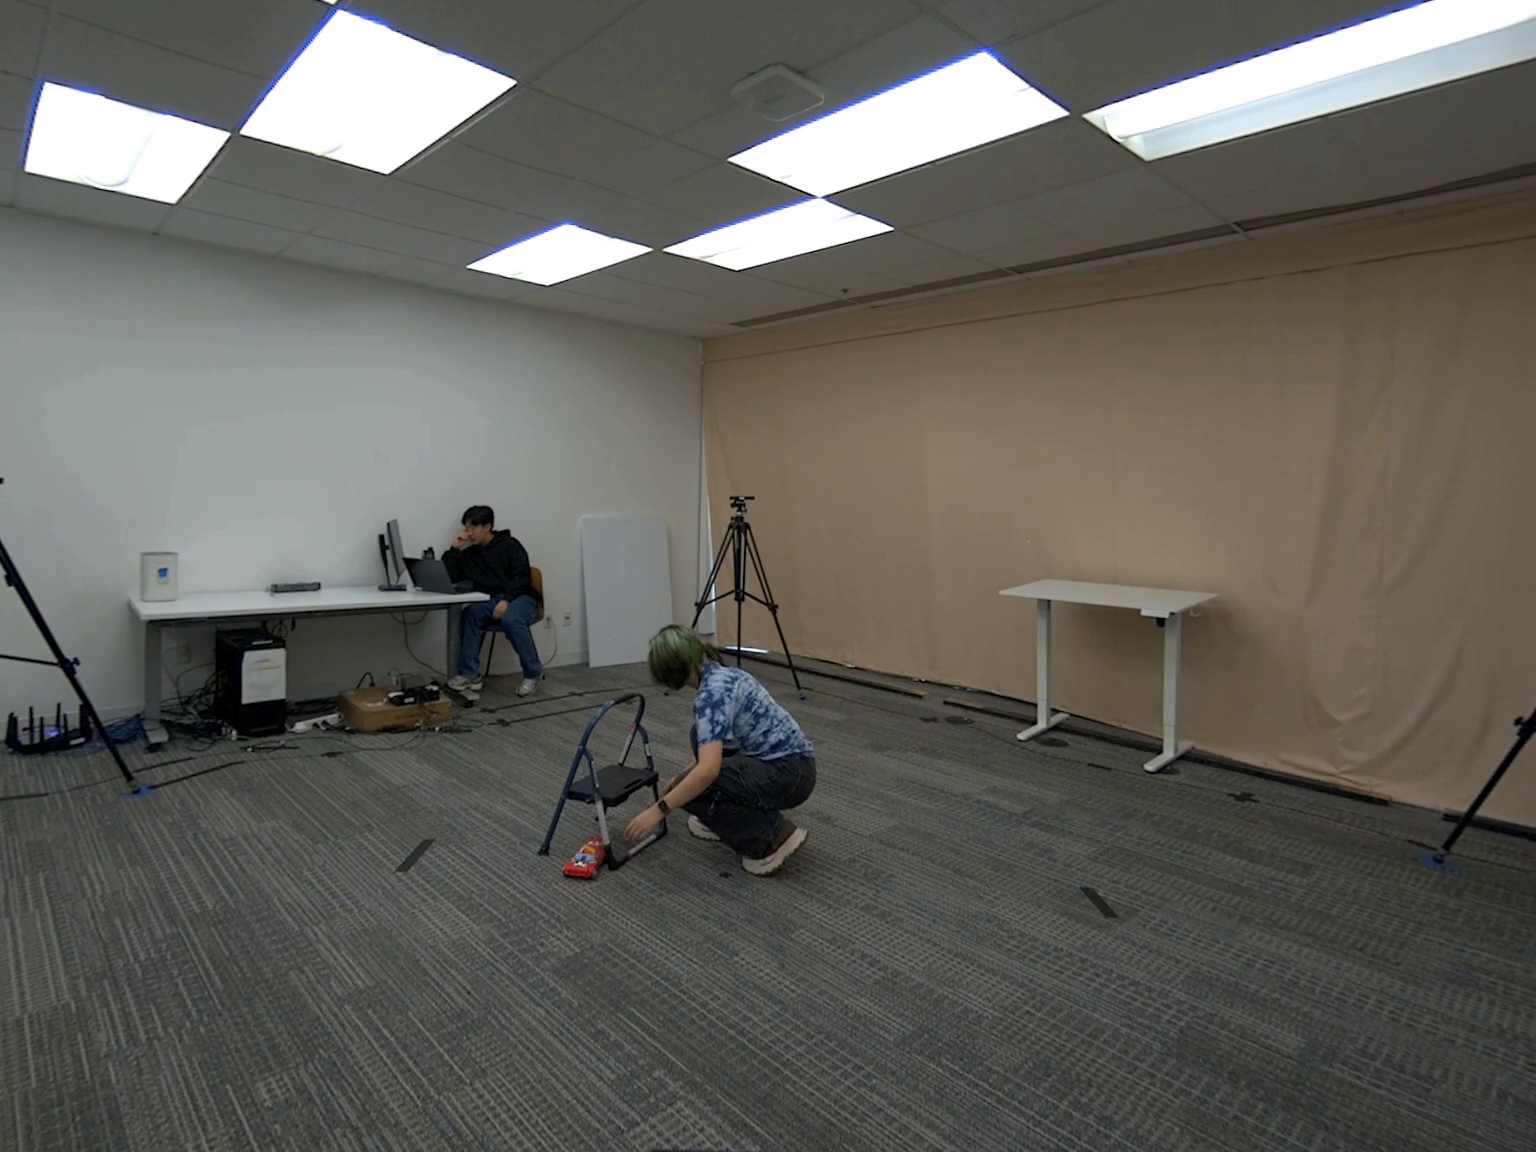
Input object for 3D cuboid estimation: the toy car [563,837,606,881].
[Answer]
[{"bbox_3d":[-0.665,1.059,3.136,0.131,0.082,0.256,0,16,5],"label":"toy car"}]
